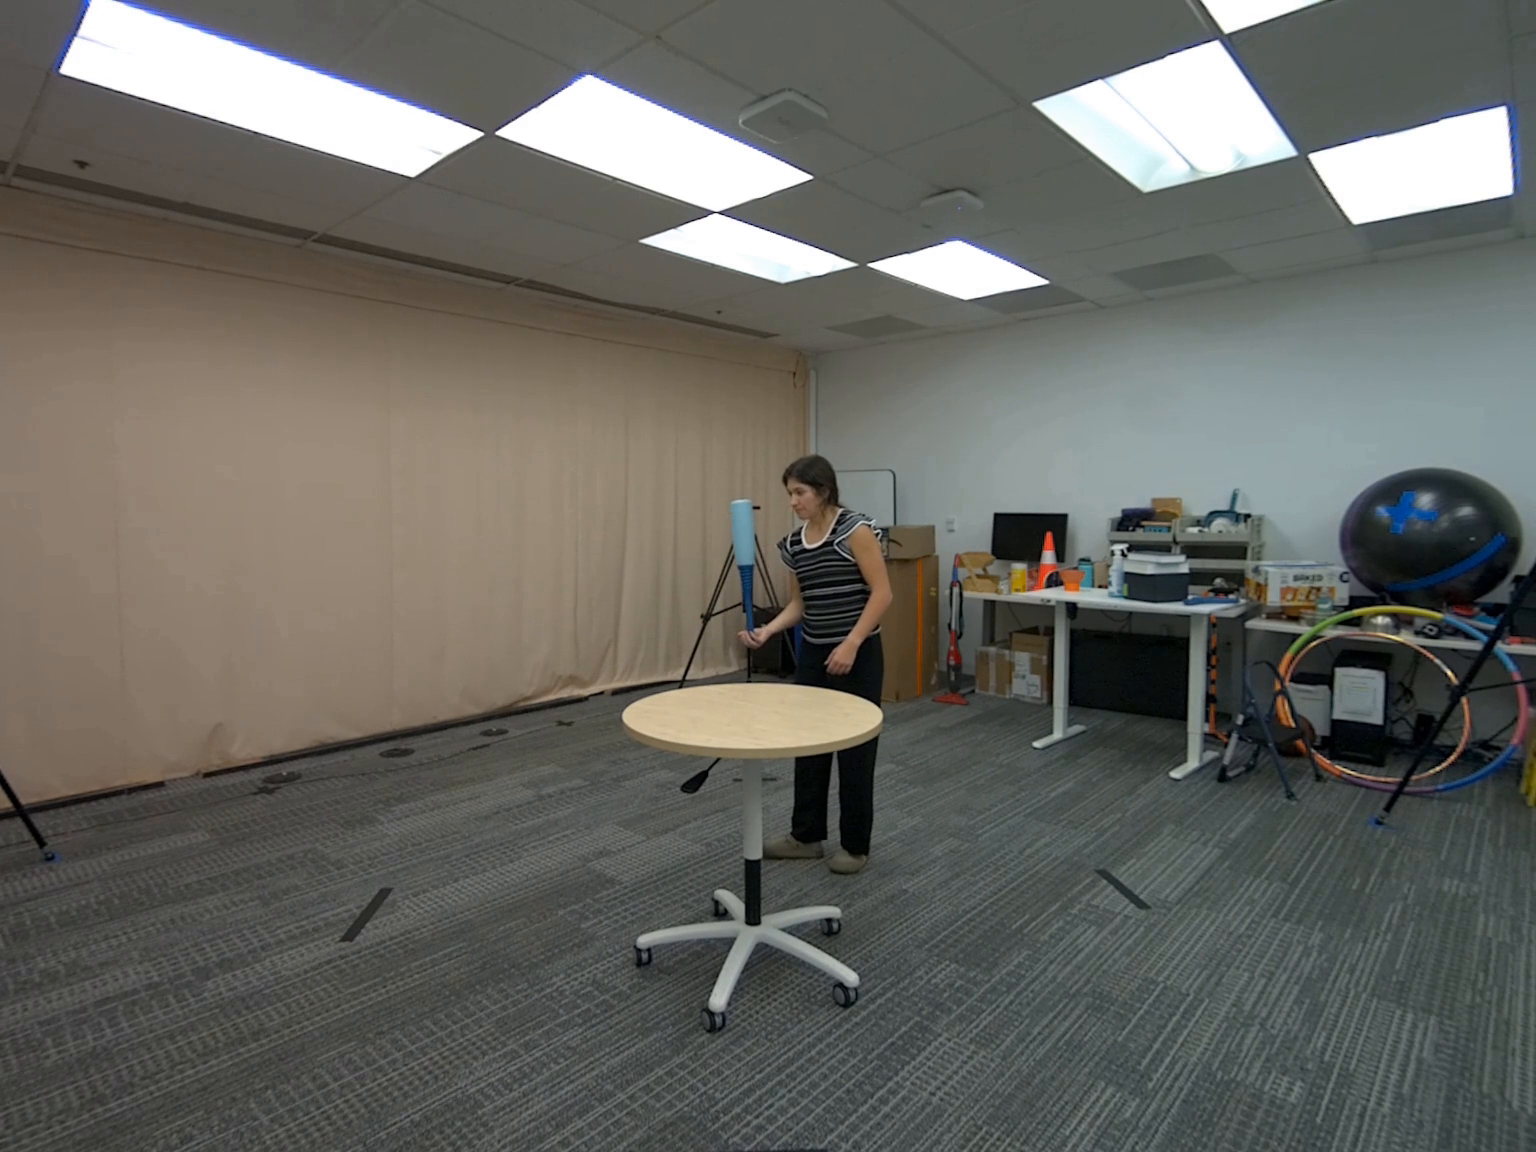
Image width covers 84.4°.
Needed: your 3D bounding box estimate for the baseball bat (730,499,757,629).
[{"bbox_3d":[-0.083,-0.024,3.252,0.089,0.544,0.089,-3,-2,-2],"label":"baseball bat"}]
